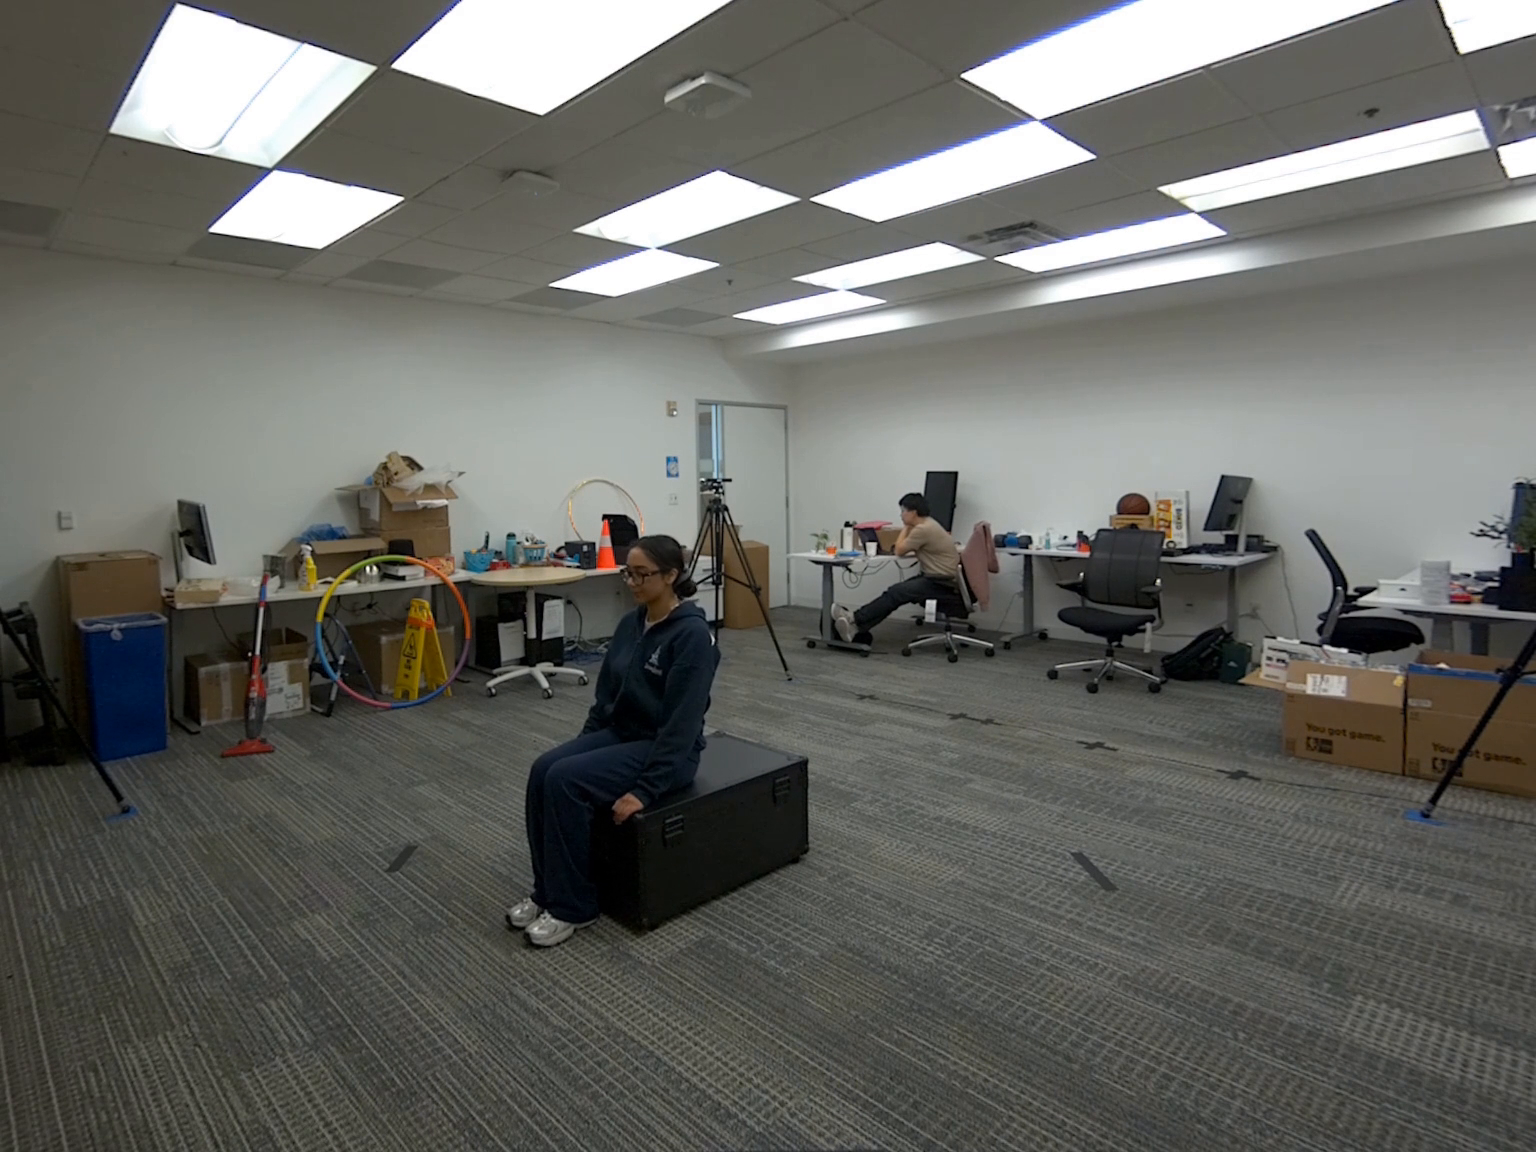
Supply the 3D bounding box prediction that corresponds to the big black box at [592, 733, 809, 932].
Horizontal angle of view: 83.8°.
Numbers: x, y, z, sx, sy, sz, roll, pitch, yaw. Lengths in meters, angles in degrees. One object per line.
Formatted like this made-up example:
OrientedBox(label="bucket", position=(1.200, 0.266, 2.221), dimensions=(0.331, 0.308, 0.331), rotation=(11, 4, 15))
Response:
OrientedBox(label="big black box", position=(-0.264, 0.867, 3.059), dimensions=(0.840, 0.394, 0.537), rotation=(-9, 10, -44))
